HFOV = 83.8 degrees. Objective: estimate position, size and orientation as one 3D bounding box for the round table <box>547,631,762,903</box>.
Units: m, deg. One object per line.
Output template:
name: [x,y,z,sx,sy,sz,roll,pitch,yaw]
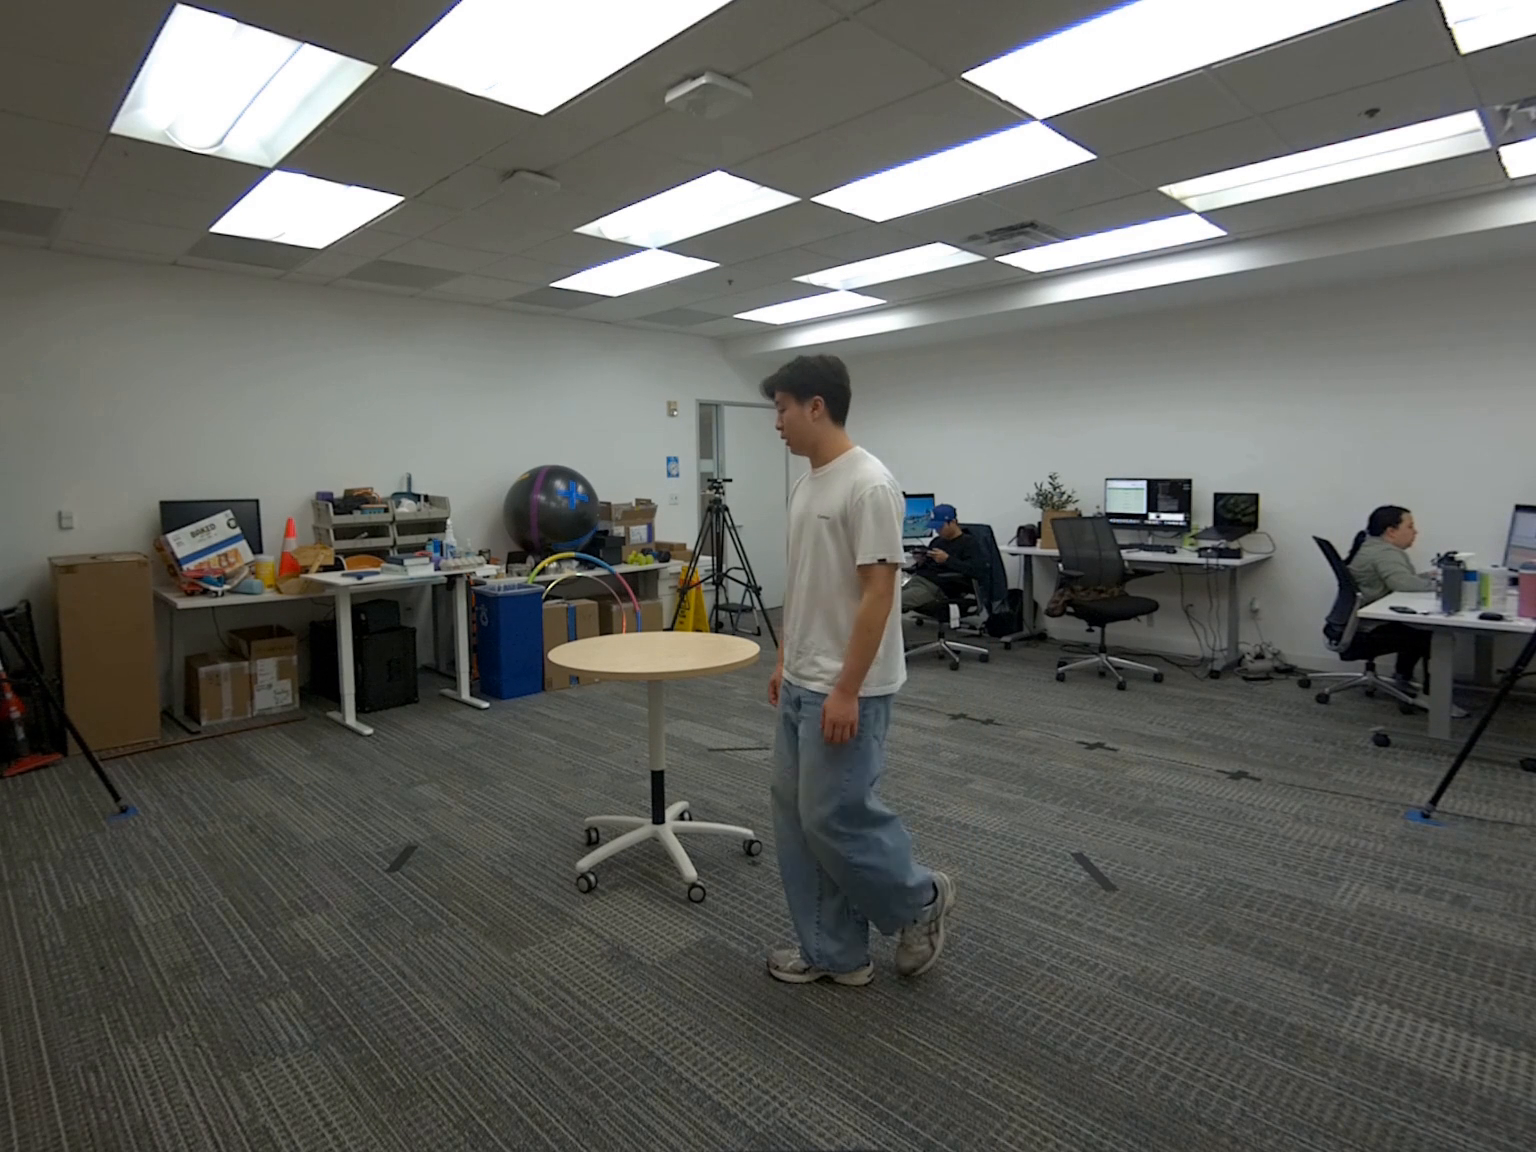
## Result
round table: [-0.402,0.659,3.130,0.763,0.791,0.768,-1,5,-2]
